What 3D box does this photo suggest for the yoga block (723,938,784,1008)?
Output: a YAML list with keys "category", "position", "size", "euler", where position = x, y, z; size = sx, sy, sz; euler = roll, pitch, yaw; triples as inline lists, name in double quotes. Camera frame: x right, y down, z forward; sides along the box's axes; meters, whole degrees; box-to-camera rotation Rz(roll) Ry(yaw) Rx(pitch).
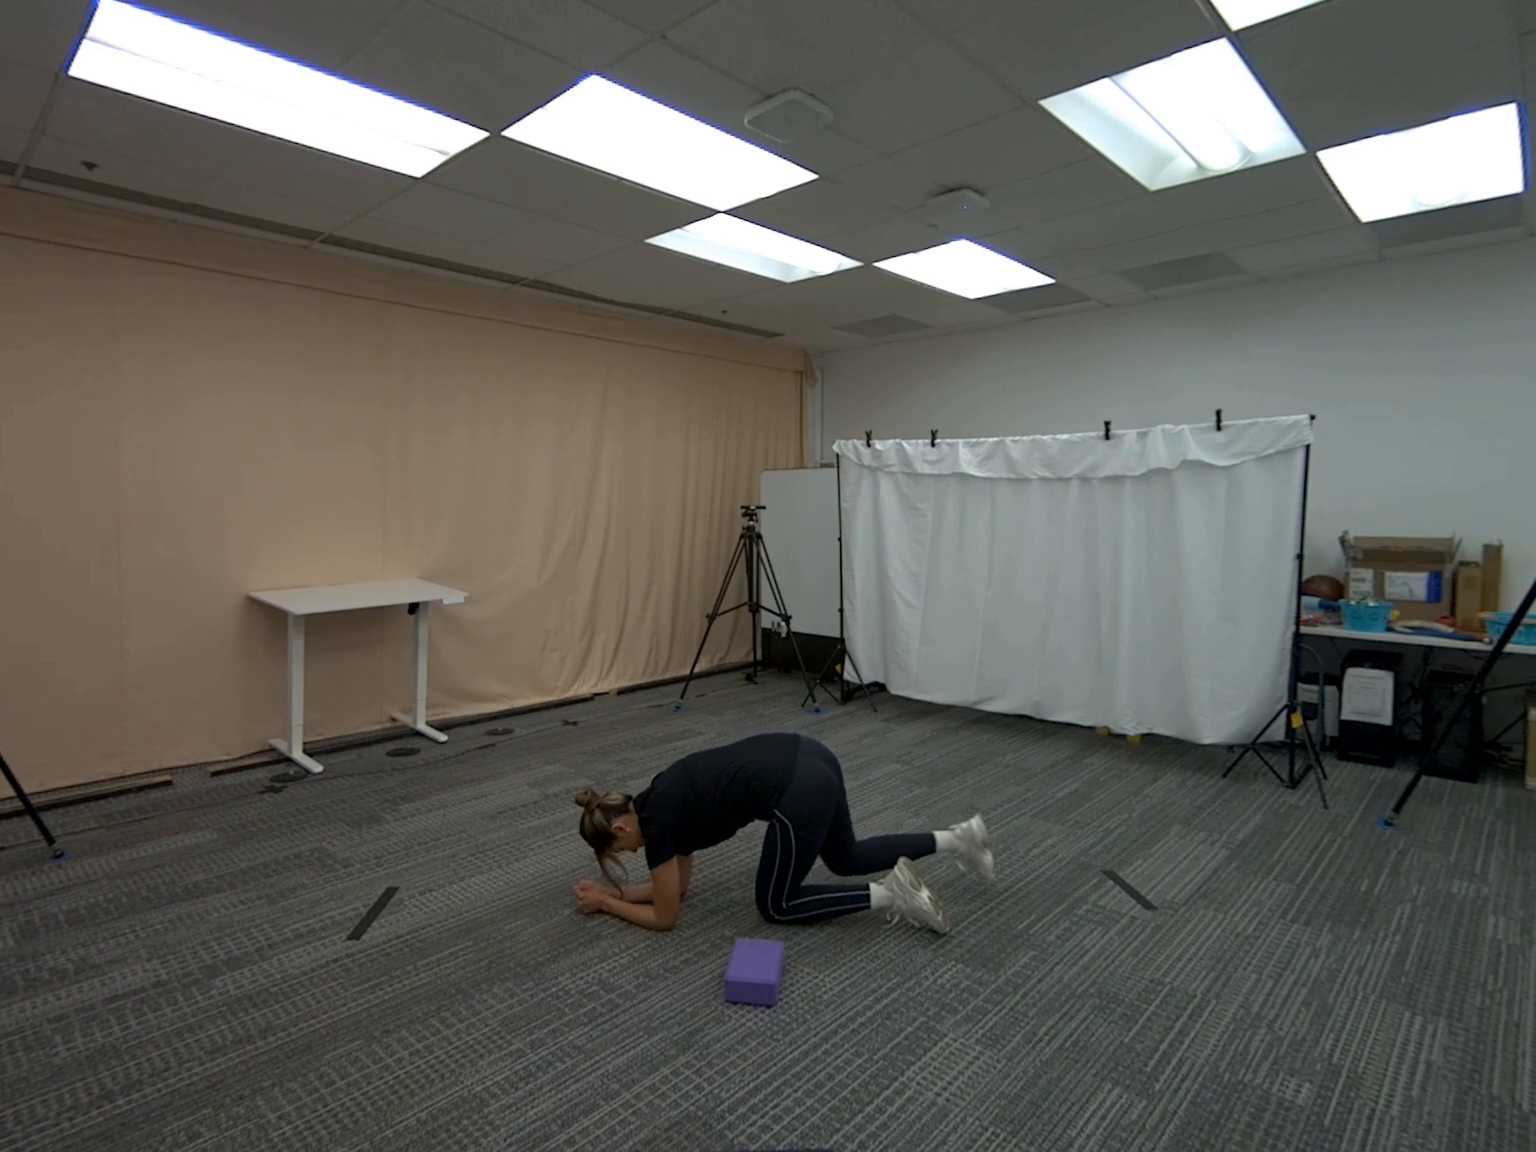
- category: "yoga block"
  position: [-0.034, 1.147, 2.448]
  size: [0.150, 0.076, 0.227]
  euler: [1, 3, 8]
